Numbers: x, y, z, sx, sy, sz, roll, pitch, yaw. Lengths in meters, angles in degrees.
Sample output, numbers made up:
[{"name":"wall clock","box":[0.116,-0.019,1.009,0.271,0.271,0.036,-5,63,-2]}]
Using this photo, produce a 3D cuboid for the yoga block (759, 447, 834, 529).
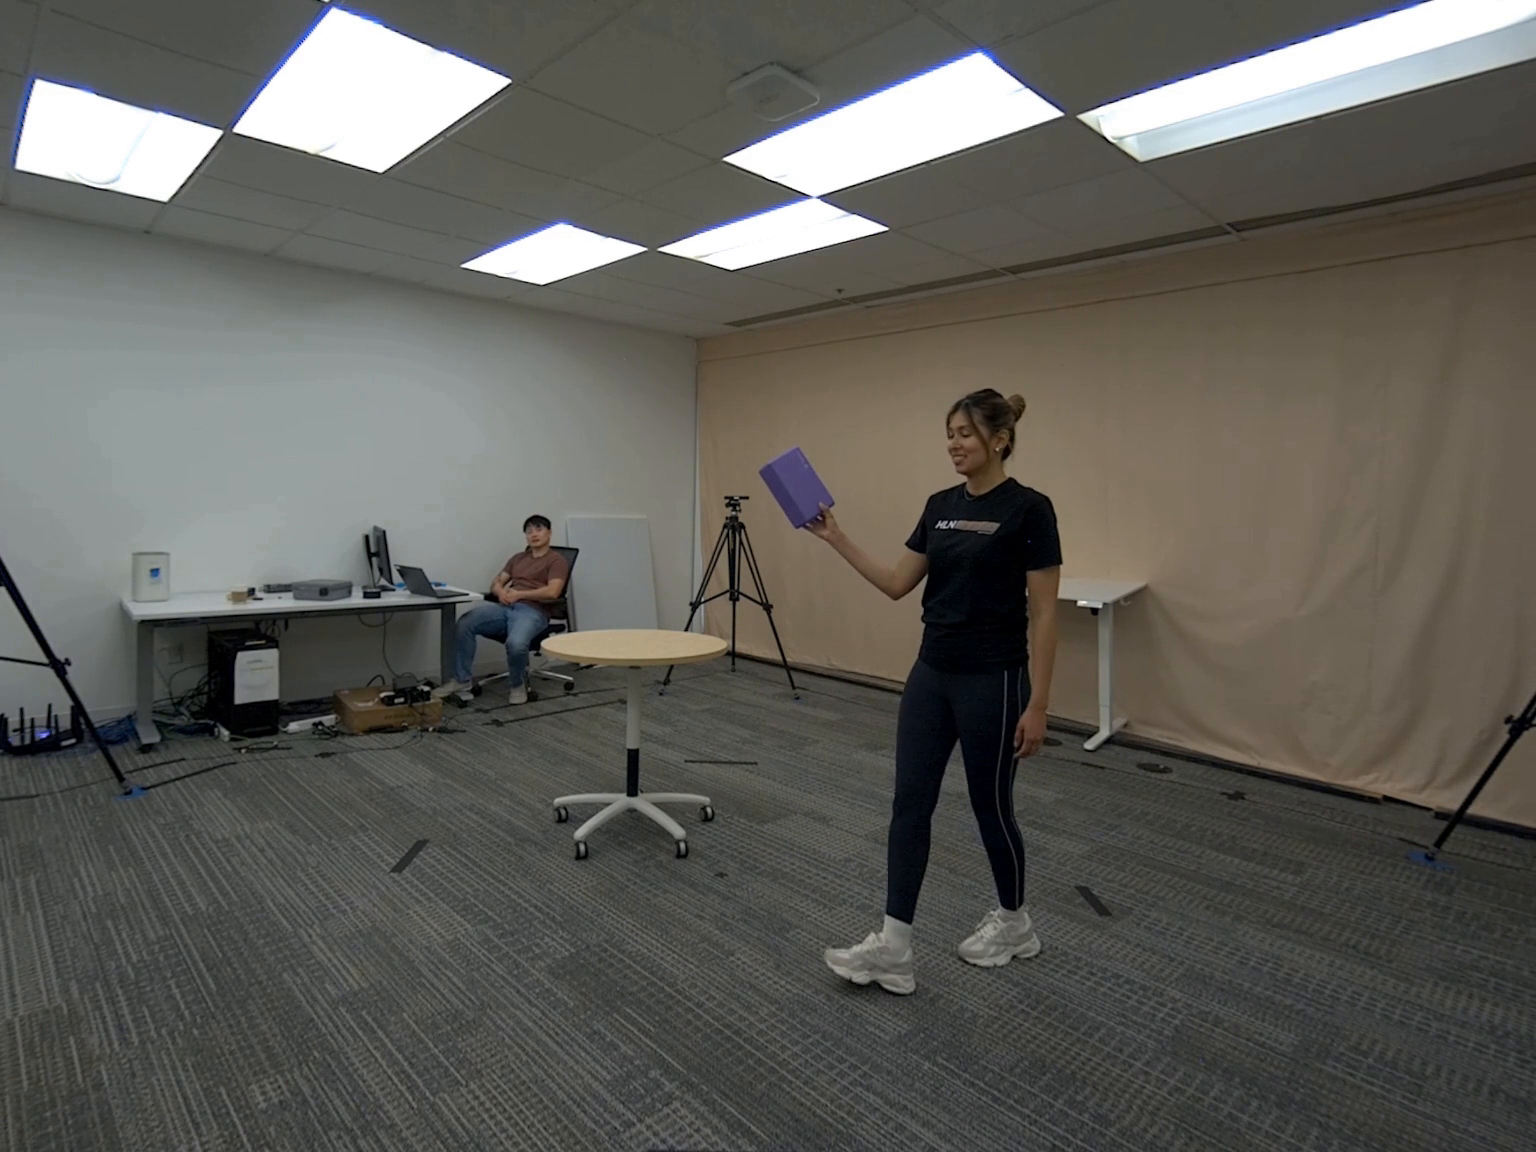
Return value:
[{"name":"yoga block","box":[0.089,-0.288,2.702,0.148,0.229,0.077,-33,0,-31]}]
